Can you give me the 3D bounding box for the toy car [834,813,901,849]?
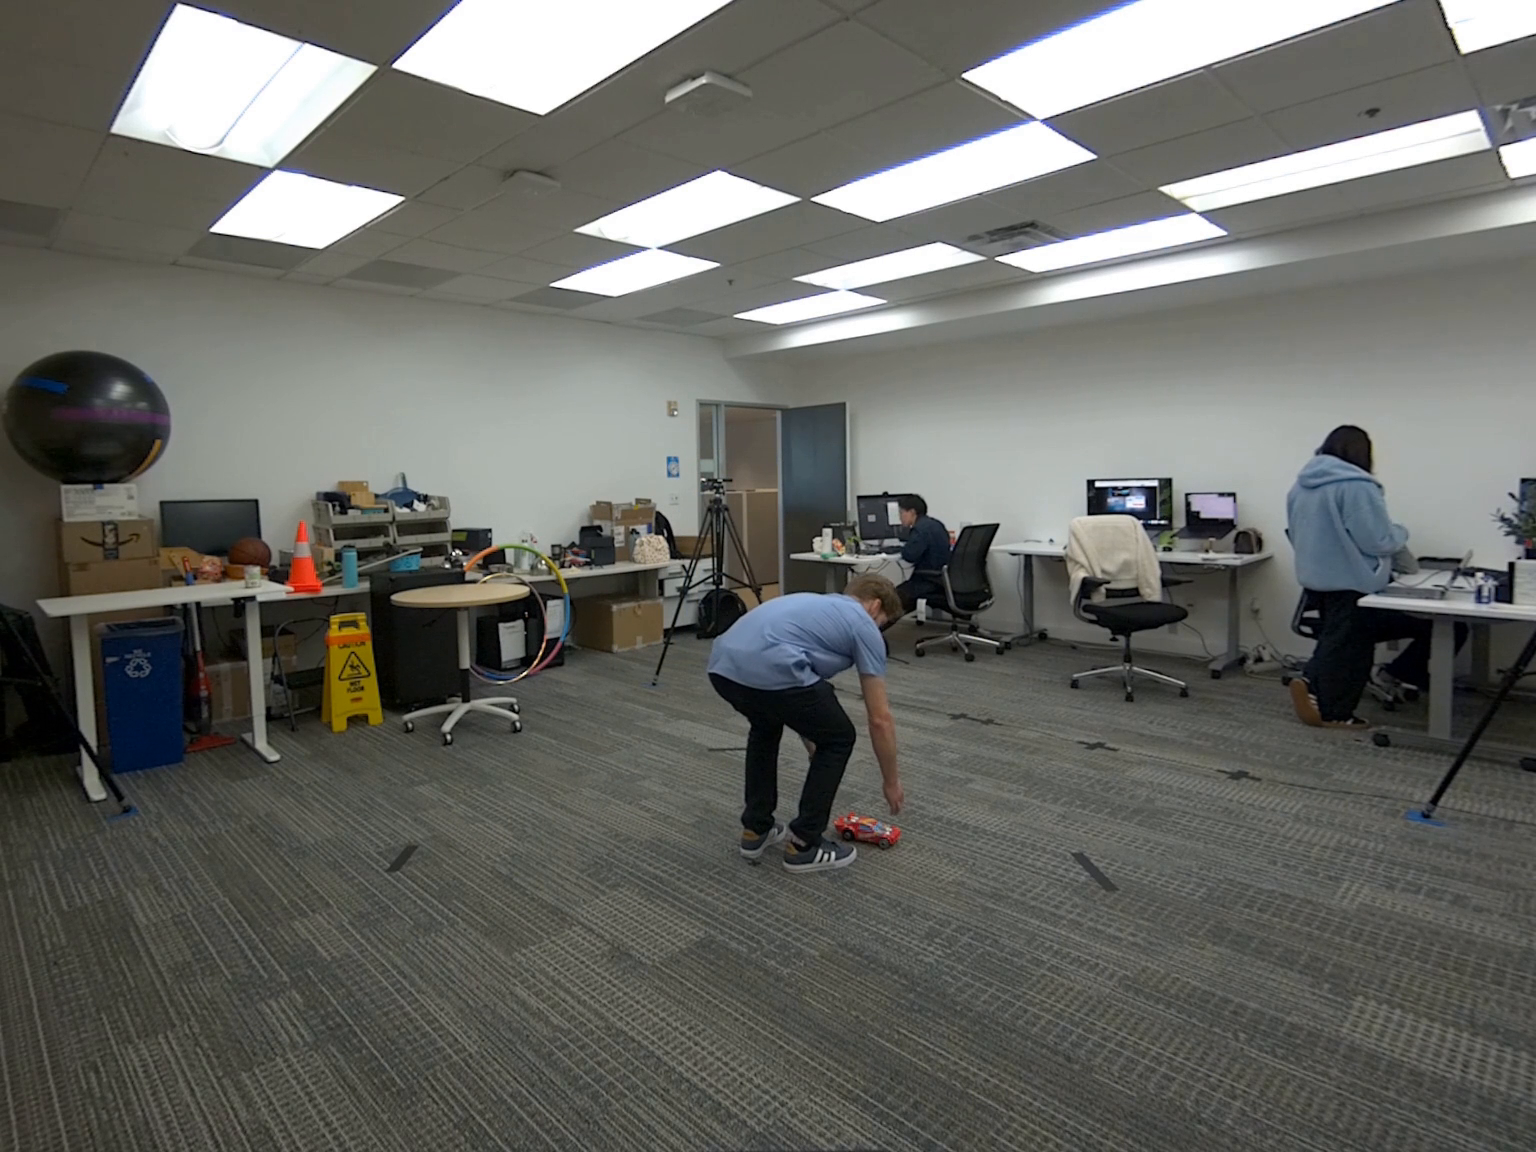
[{"bbox_3d":[0.377,0.986,3.306,0.262,0.082,0.127,15,13,30],"label":"toy car"}]
